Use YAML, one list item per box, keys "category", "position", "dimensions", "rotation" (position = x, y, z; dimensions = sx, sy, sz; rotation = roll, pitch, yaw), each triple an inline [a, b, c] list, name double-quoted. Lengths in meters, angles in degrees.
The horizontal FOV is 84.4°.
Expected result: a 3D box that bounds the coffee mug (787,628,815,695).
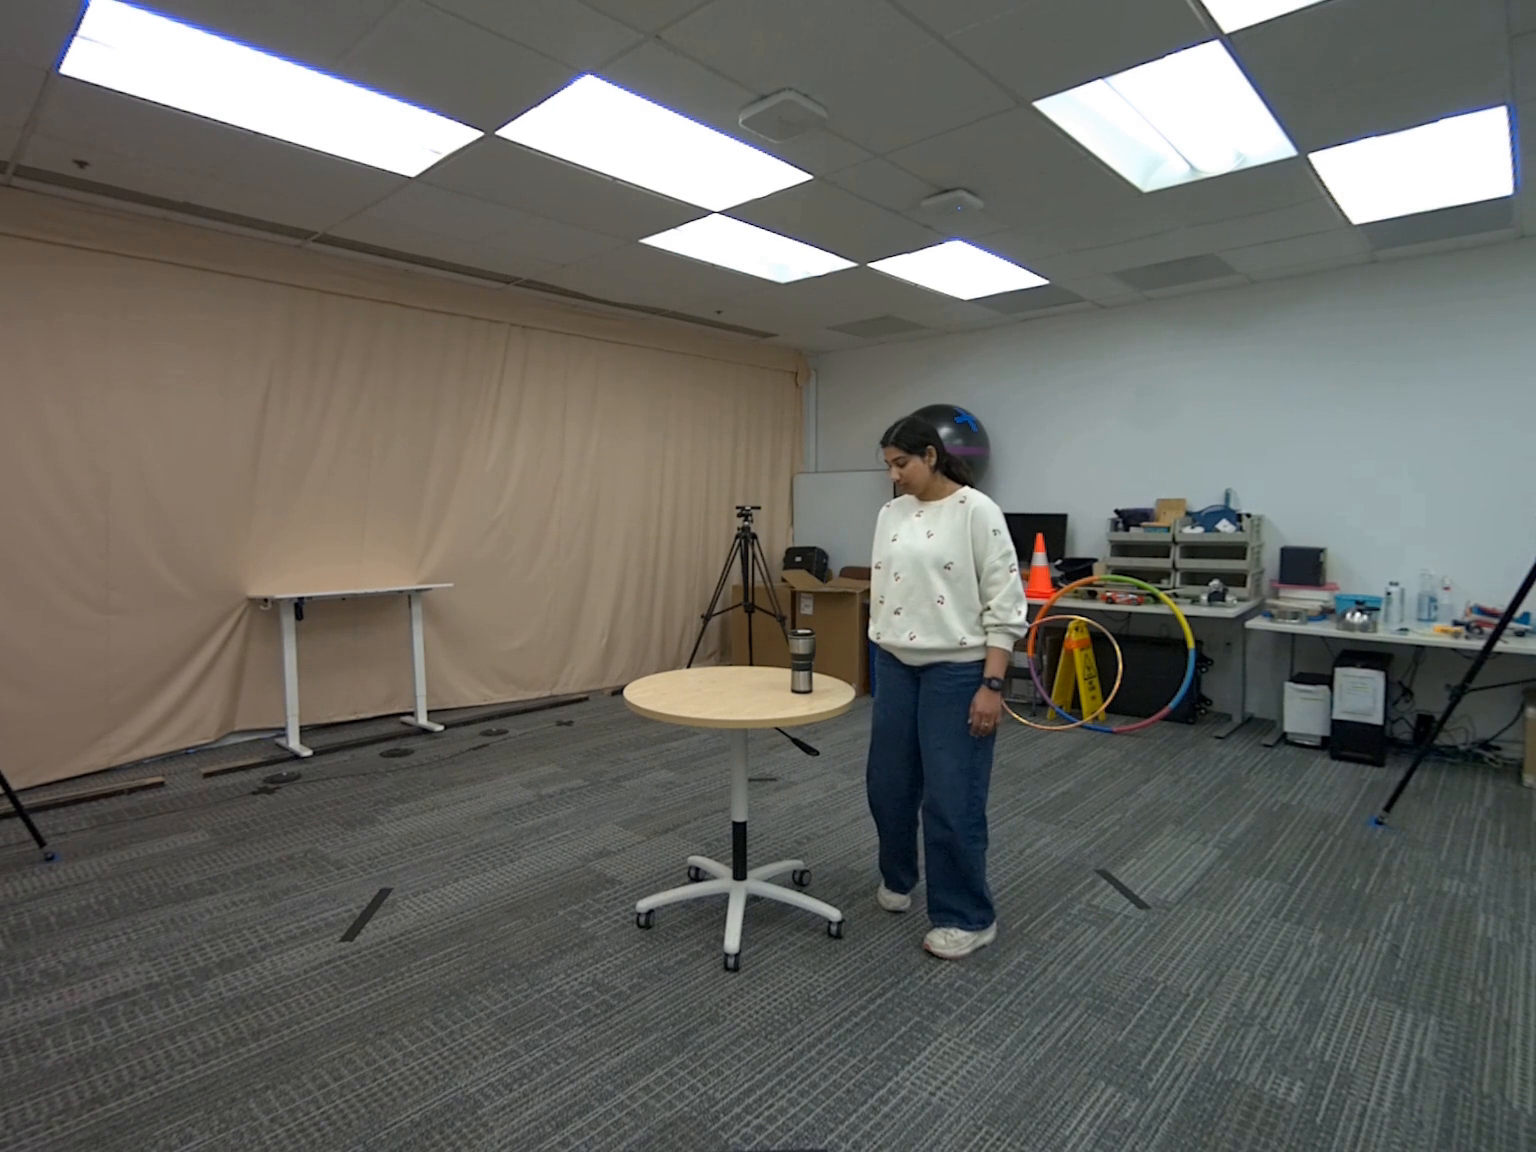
- category: "coffee mug"
  position: [0.136, 0.284, 2.764]
  dimensions: [0.118, 0.202, 0.091]
  rotation: [-8, 8, -35]
